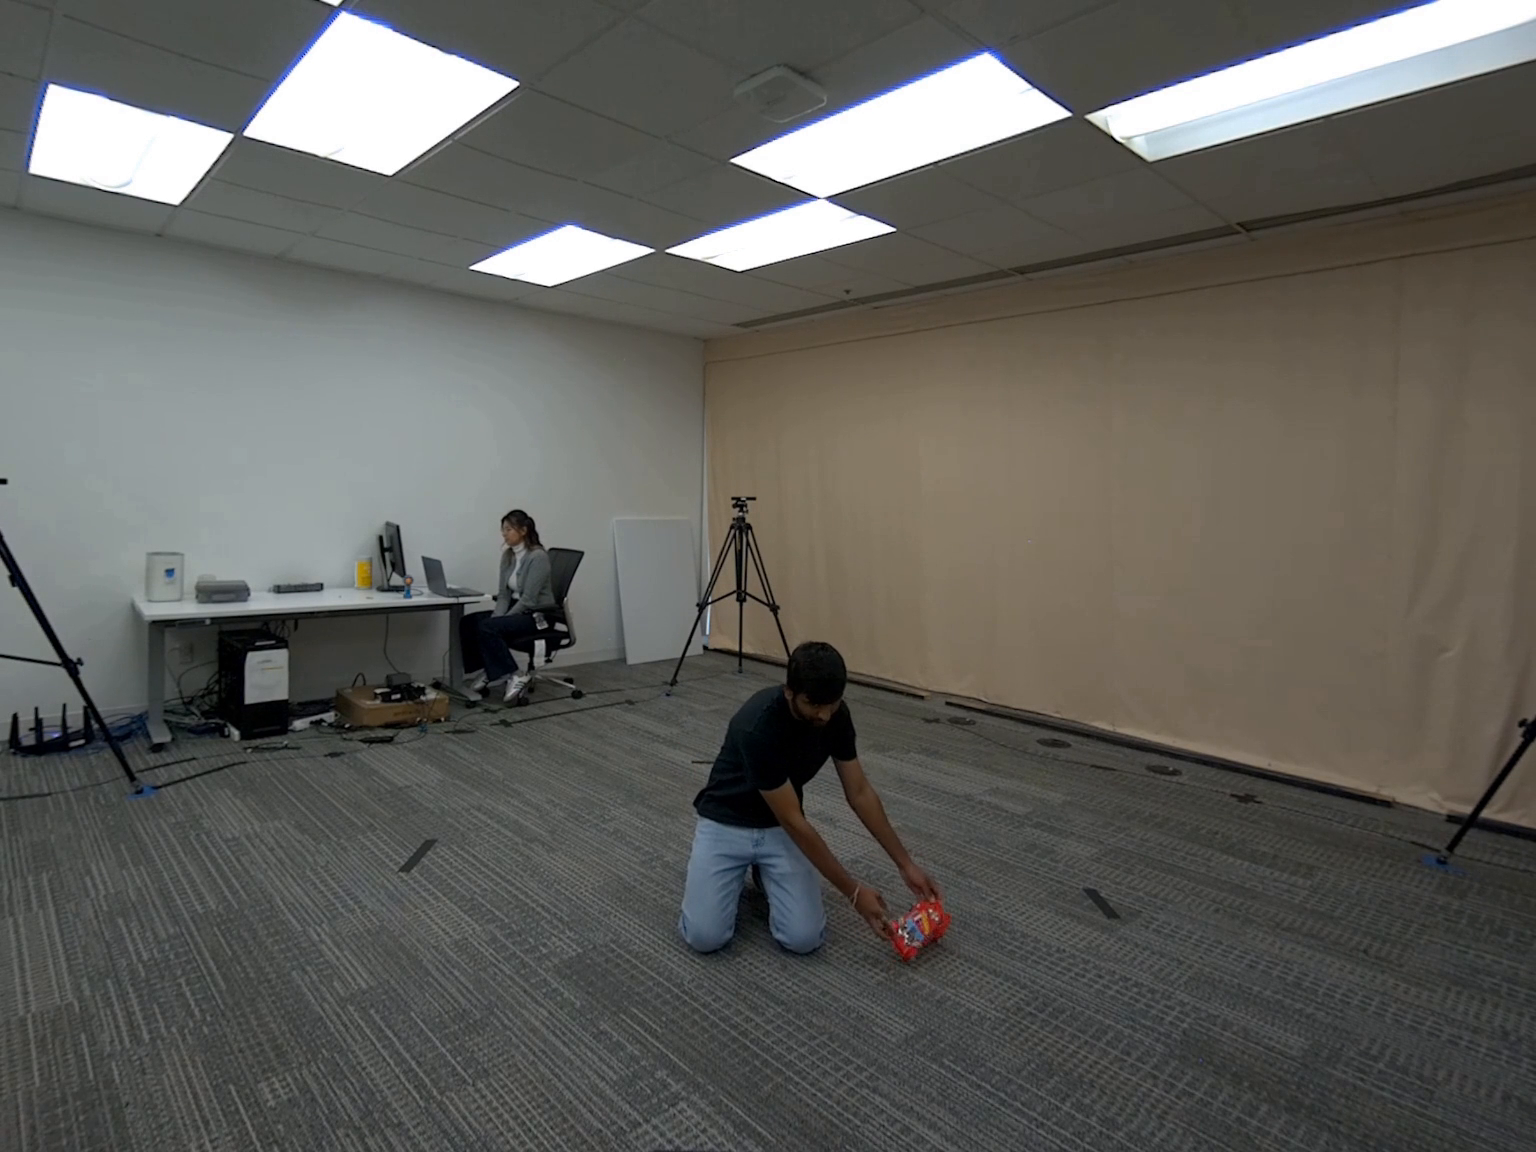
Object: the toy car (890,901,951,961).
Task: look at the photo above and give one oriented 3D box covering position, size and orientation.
[{"bbox_3d":[0.460,1.089,2.601,0.250,0.082,0.134,-17,54,-36],"label":"toy car"}]
